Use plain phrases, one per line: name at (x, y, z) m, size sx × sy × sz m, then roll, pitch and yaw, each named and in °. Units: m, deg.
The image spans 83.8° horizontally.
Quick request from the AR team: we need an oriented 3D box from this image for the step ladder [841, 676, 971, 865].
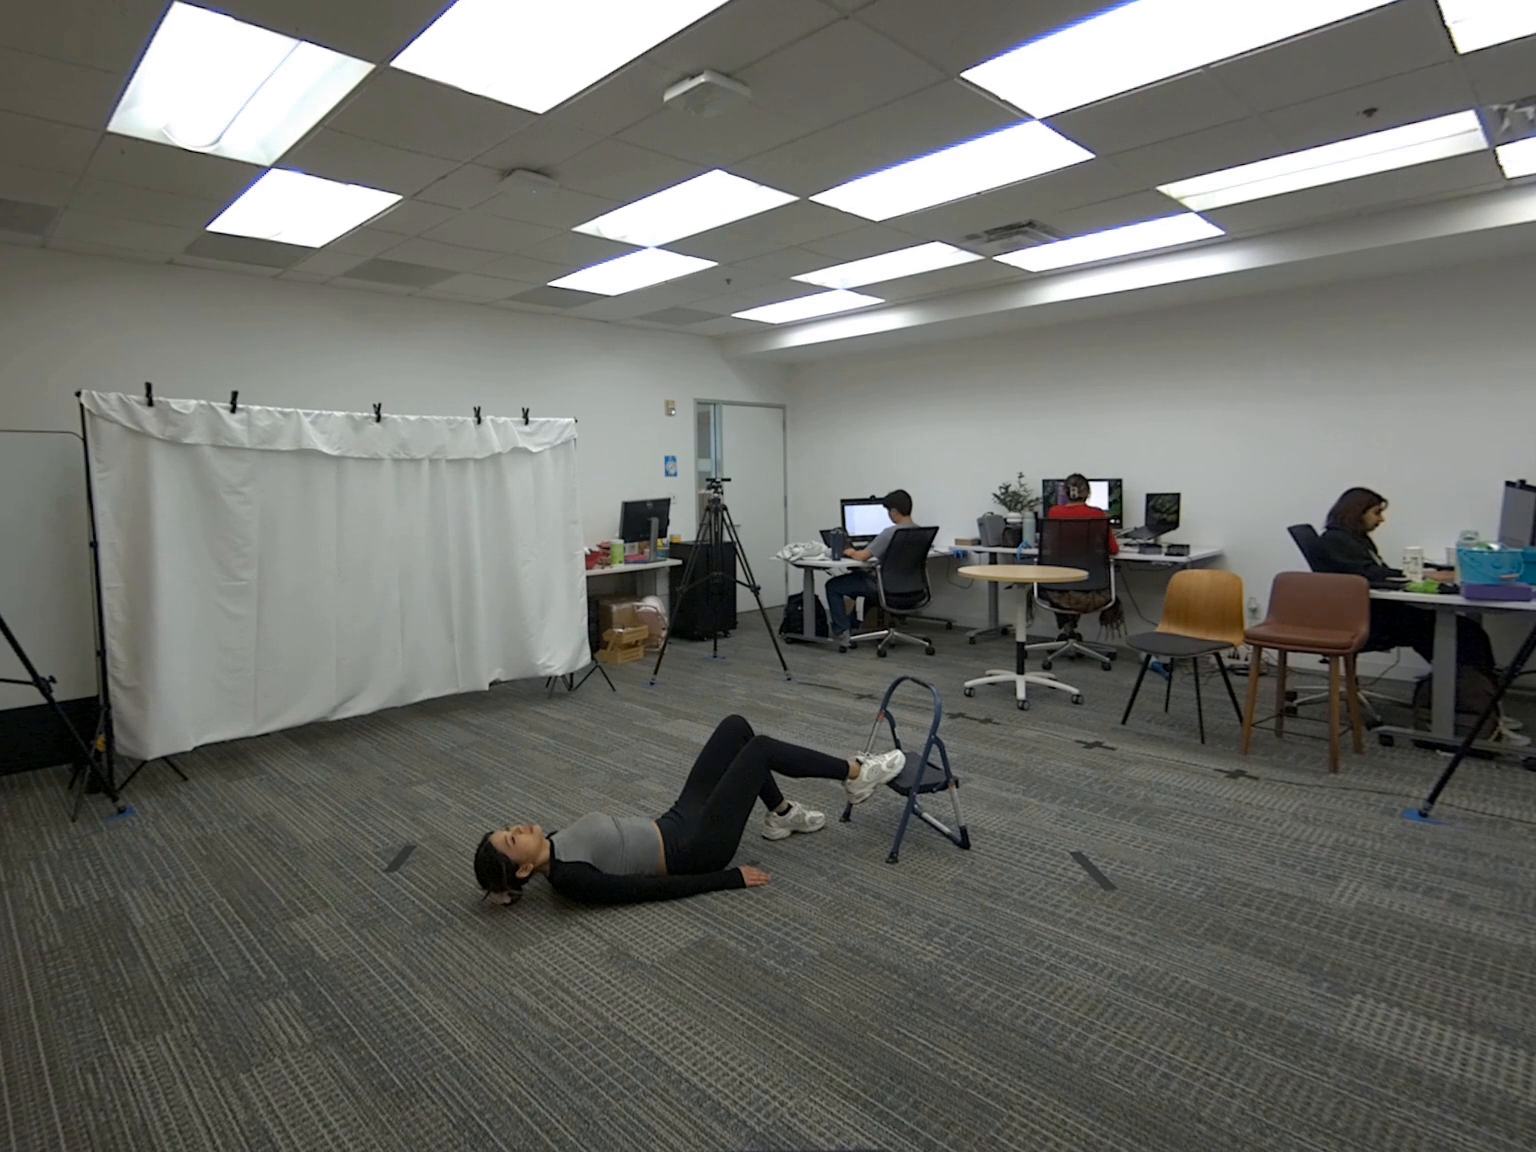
step ladder at (0.522, 0.709, 3.316) m, size 0.343 × 0.604 × 0.440 m, roll -3°, pitch 5°, yaw -19°
